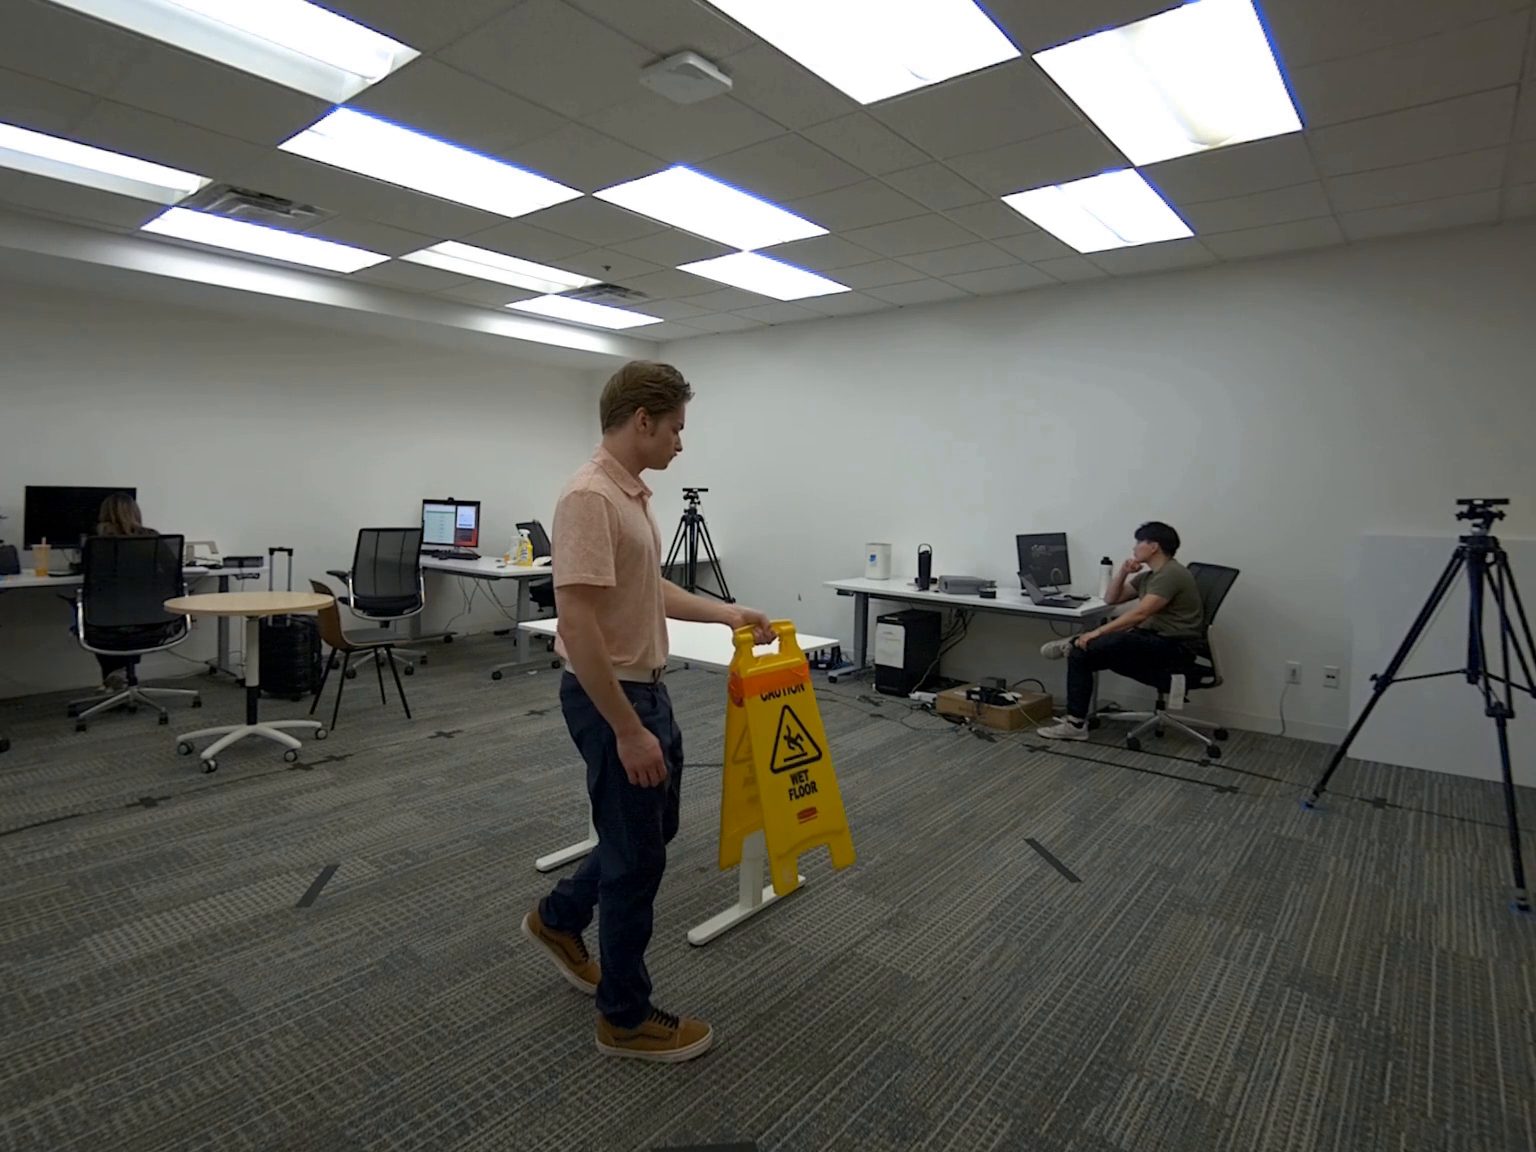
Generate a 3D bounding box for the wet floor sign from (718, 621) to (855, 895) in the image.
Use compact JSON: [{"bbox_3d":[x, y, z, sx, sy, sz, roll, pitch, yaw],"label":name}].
[{"bbox_3d":[0.011,0.451,2.263,0.274,0.645,0.298,-7,2,-38],"label":"wet floor sign"}]
